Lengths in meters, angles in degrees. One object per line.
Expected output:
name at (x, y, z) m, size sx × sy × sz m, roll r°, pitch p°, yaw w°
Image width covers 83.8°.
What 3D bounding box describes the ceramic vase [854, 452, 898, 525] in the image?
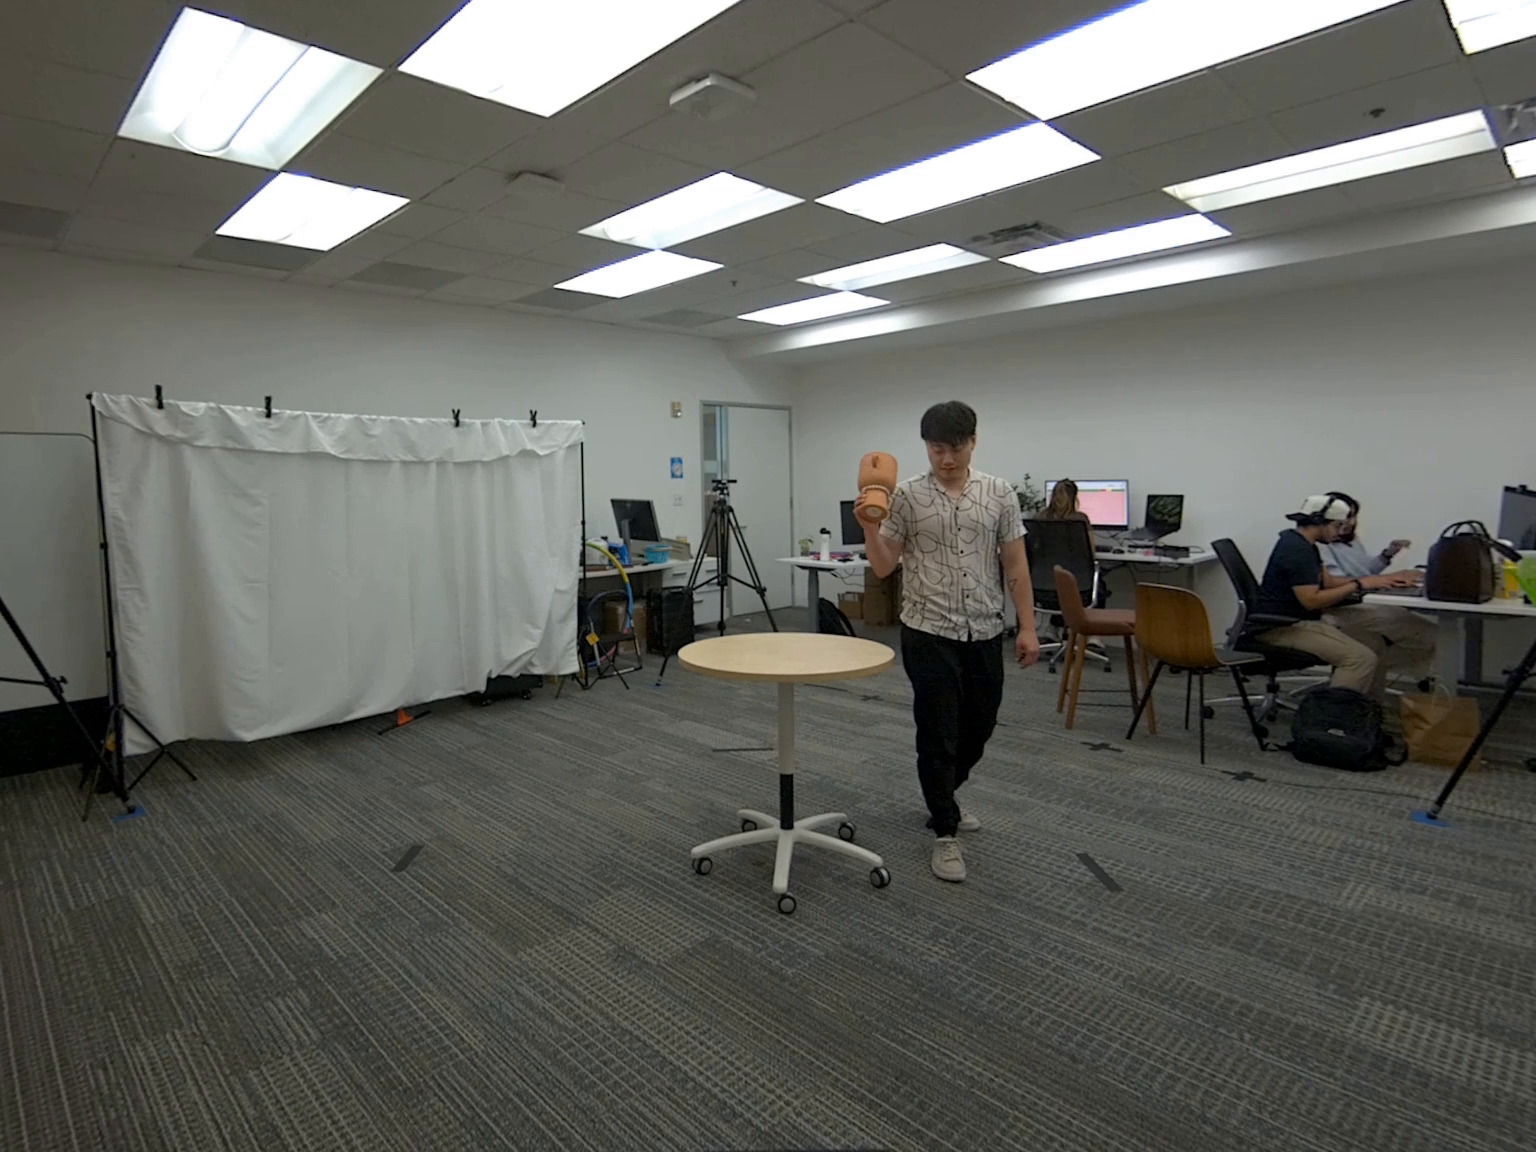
ceramic vase at (0.385, -0.305, 2.976) m, size 0.154 × 0.224 × 0.136 m, roll 28°, pitch -36°, yaw -24°
